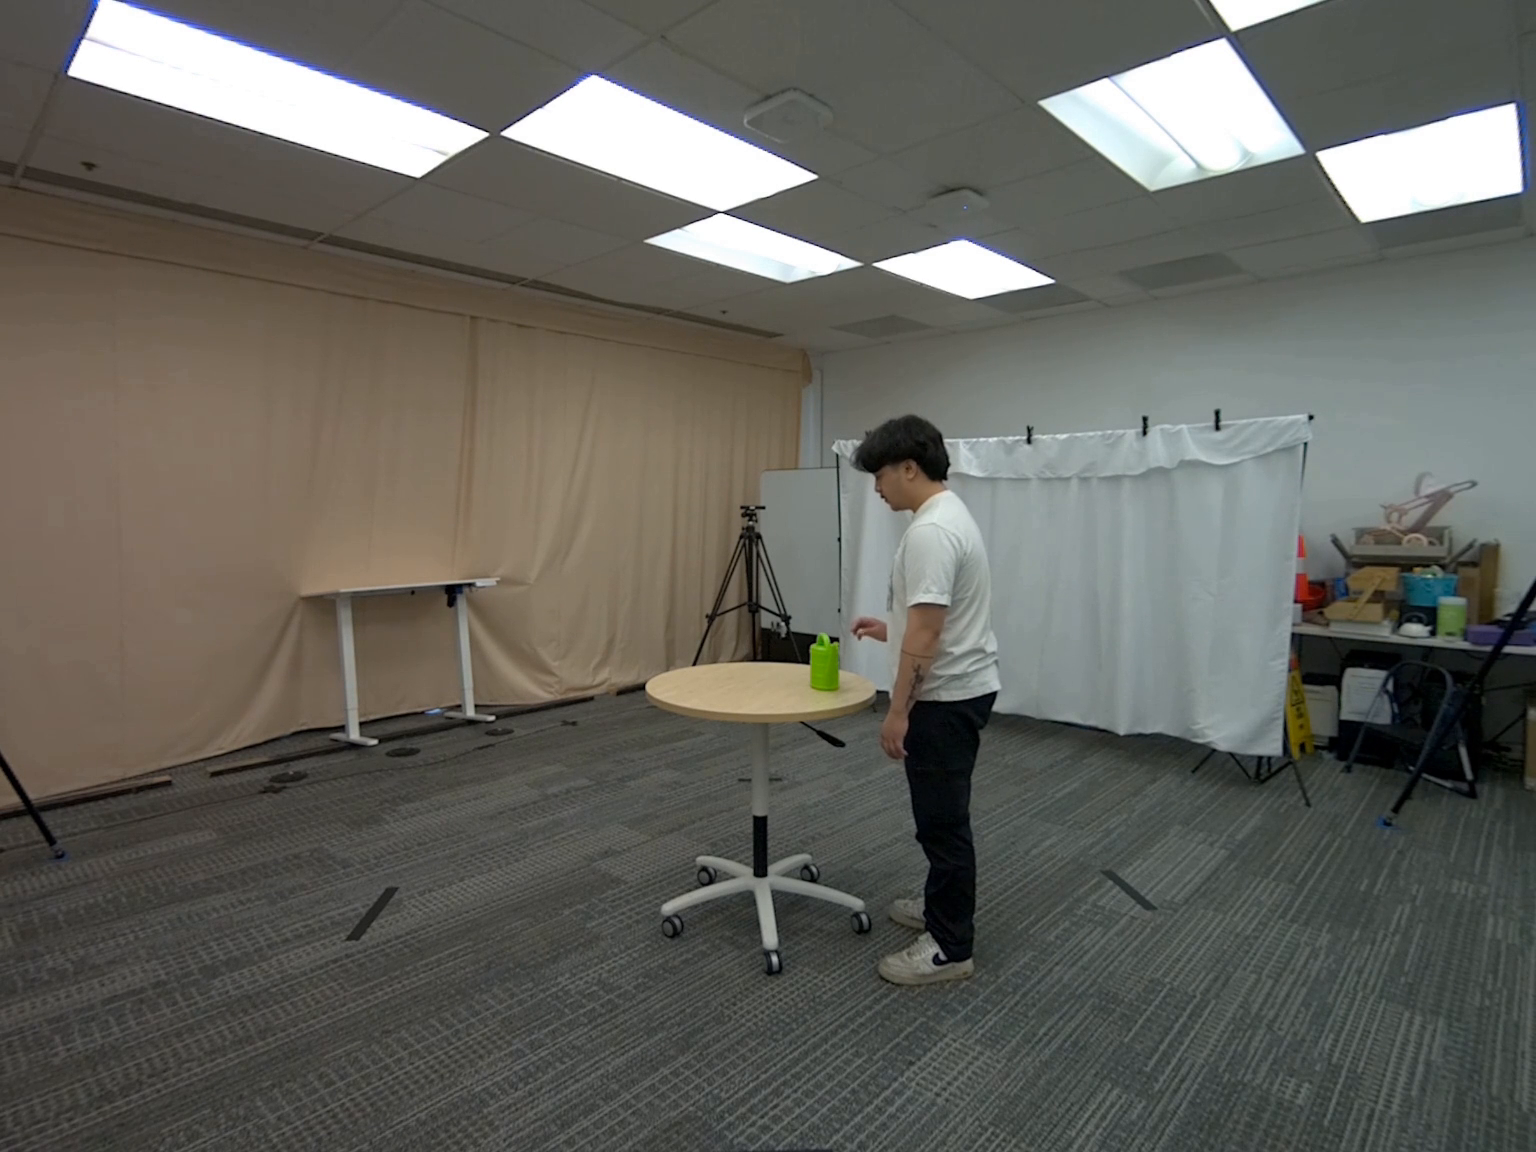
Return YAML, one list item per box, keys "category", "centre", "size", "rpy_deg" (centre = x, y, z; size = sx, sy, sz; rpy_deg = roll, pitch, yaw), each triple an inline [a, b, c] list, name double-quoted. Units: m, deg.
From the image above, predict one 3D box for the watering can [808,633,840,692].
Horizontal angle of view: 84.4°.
- category: "watering can"
  centre: [0.196, 0.287, 2.734]
  size: [0.098, 0.176, 0.277]
  rpy_deg: [1, 3, 2]
